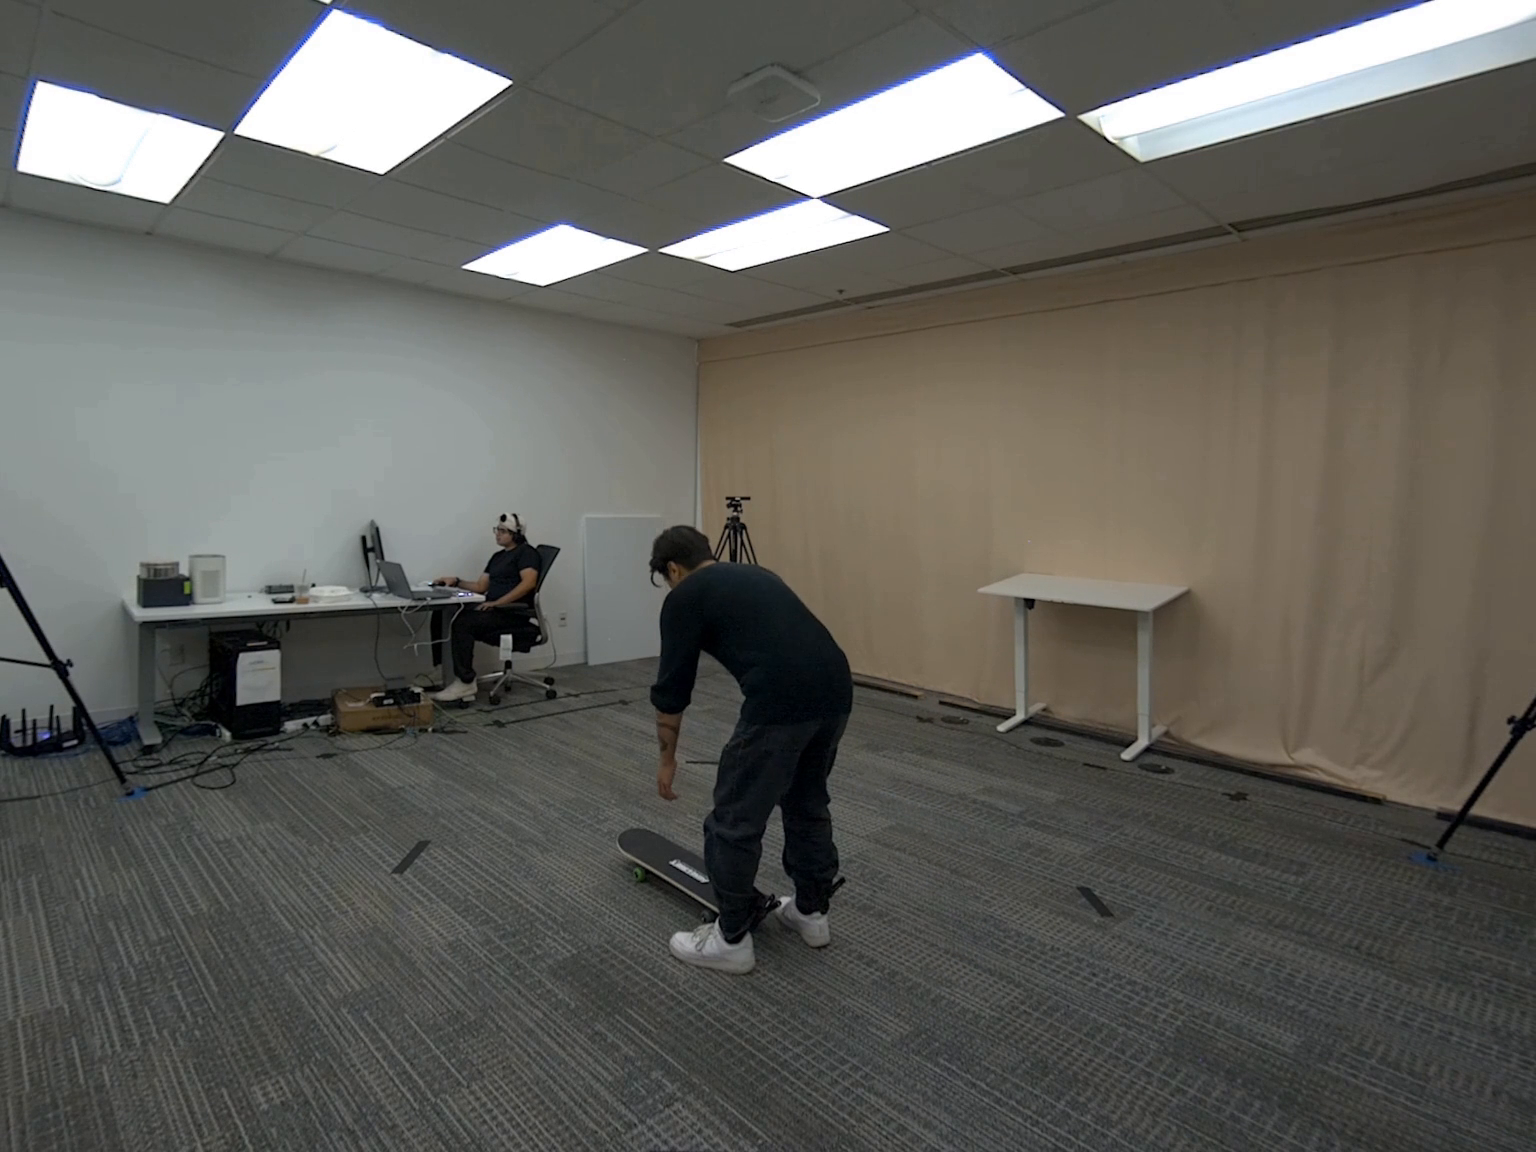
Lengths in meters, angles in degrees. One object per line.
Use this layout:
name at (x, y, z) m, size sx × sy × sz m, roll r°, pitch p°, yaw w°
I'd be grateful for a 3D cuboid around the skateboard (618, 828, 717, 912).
skateboard at (-0.284, 1.065, 2.945) m, size 0.189 × 0.110 × 0.806 m, roll -2°, pitch 7°, yaw -41°
